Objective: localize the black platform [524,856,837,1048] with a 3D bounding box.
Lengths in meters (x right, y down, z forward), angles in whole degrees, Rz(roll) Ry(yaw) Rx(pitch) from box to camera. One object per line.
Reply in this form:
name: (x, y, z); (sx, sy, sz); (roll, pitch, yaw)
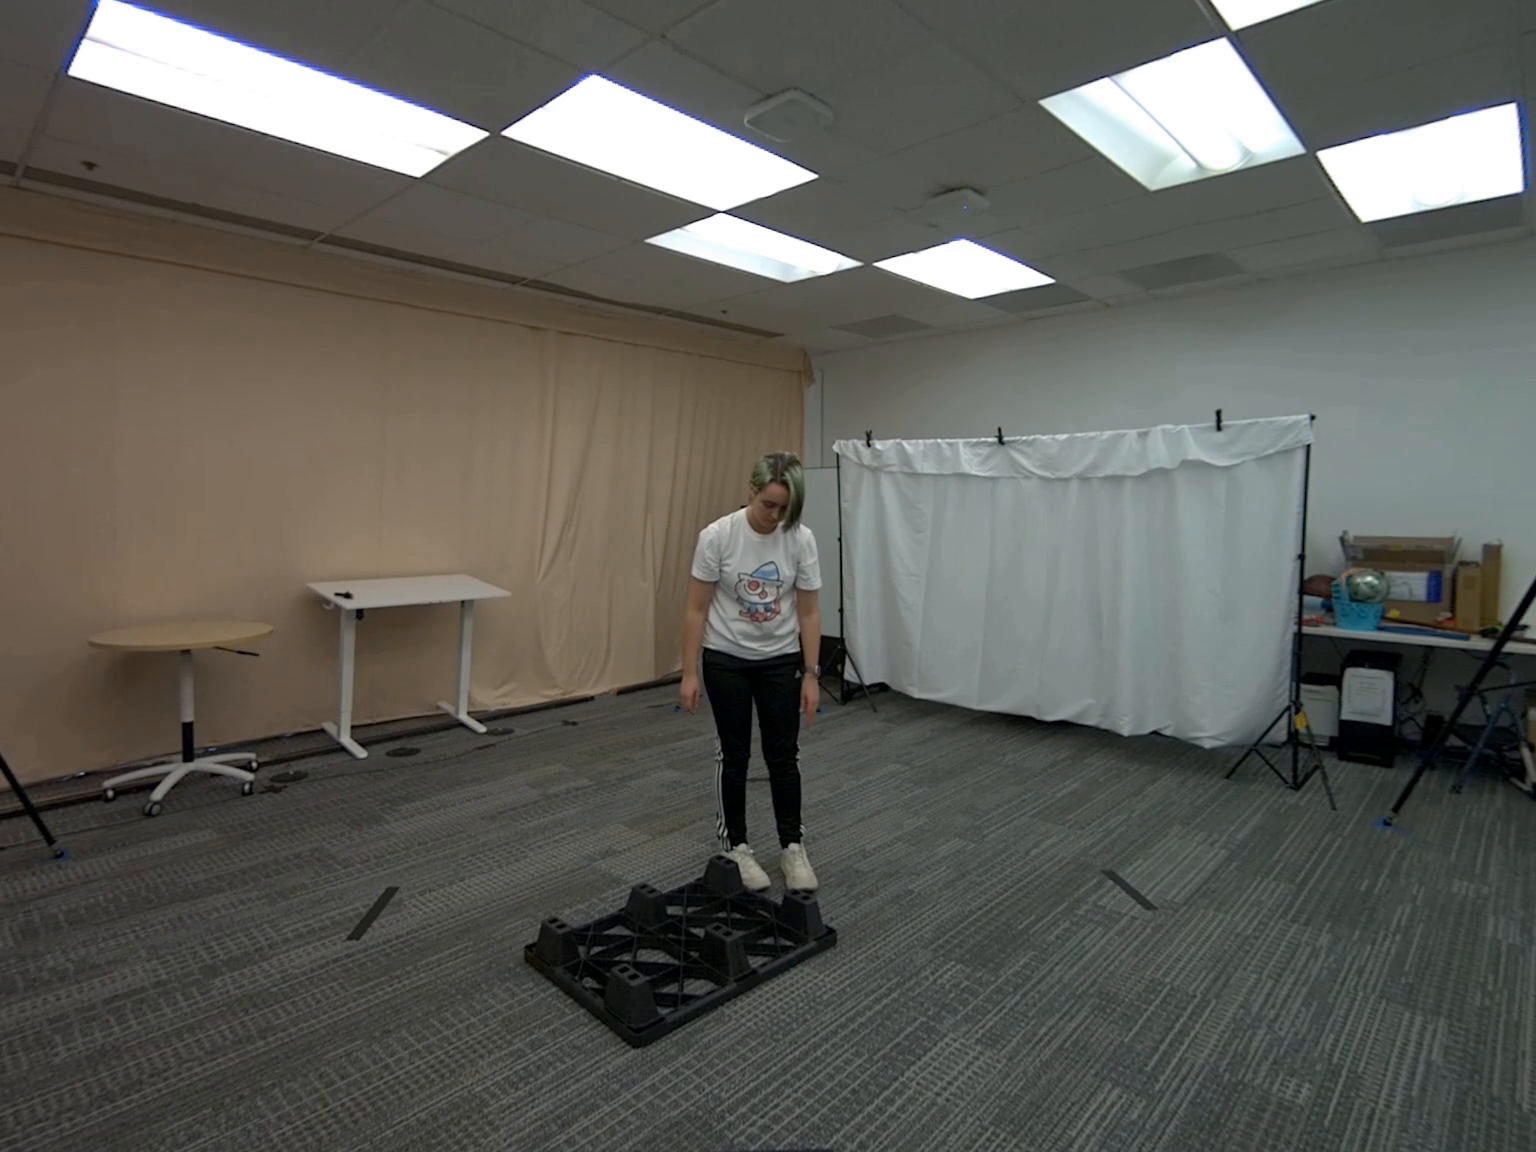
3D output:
black platform: (-0.263, 1.109, 2.640); (0.781, 0.143, 0.625); (-4, 7, -43)
